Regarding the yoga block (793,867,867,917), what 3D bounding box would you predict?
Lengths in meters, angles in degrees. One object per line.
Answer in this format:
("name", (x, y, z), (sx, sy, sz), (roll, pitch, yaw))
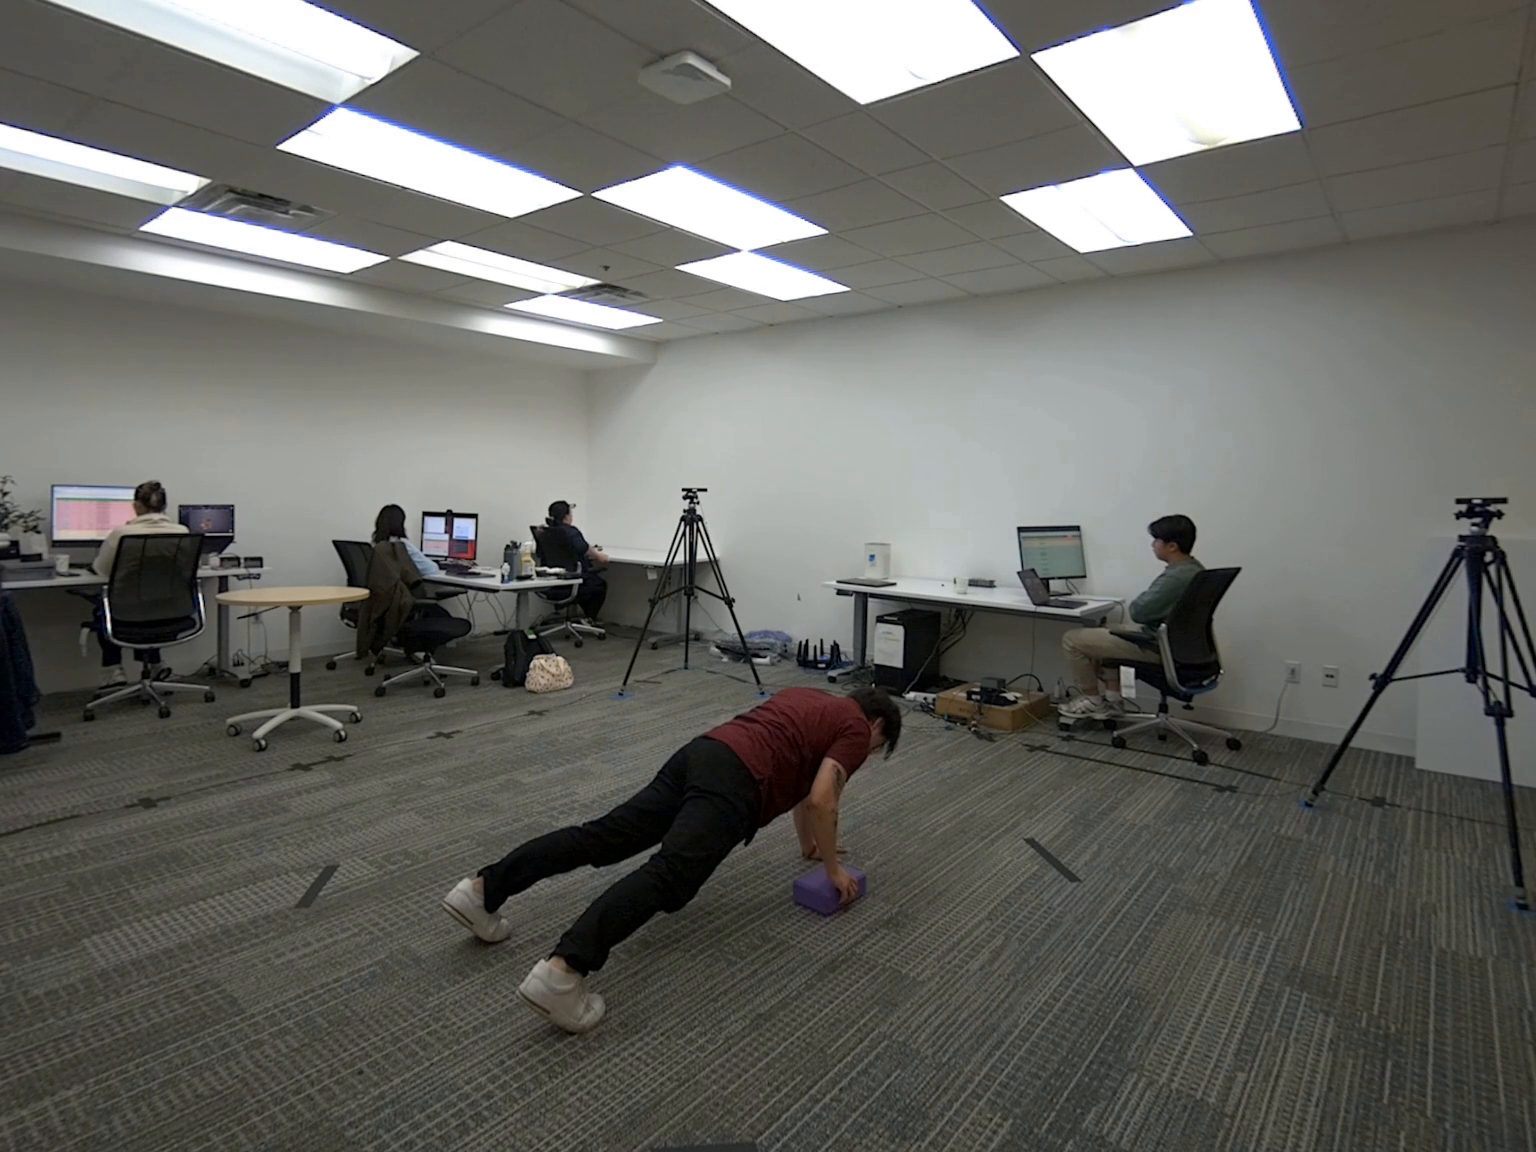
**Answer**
("yoga block", (0.201, 1.056, 2.900), (0.154, 0.076, 0.222), (6, 6, 40))
